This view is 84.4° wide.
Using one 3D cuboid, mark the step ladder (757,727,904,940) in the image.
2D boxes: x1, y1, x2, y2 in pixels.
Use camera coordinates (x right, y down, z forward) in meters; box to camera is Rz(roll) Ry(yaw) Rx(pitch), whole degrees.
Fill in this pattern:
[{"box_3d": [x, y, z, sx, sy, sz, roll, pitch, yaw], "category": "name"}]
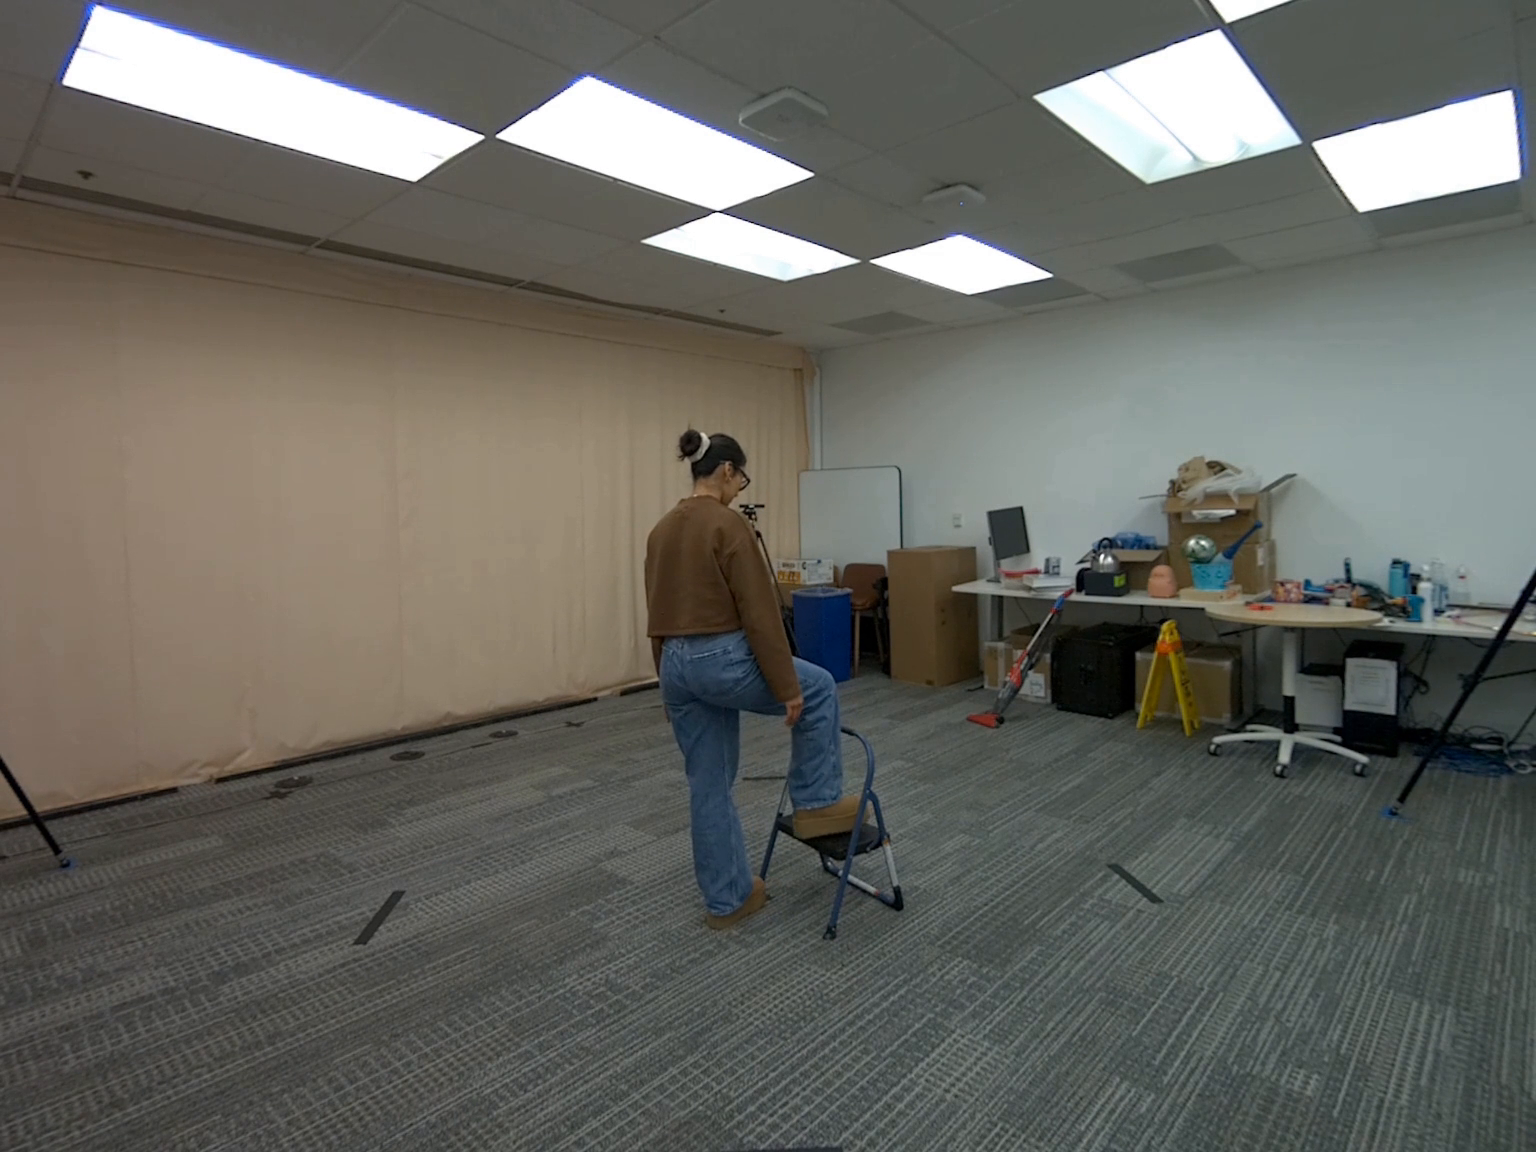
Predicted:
[{"box_3d": [0.208, 0.836, 2.938, 0.339, 0.605, 0.444, -3, 4, -35], "category": "step ladder"}]
